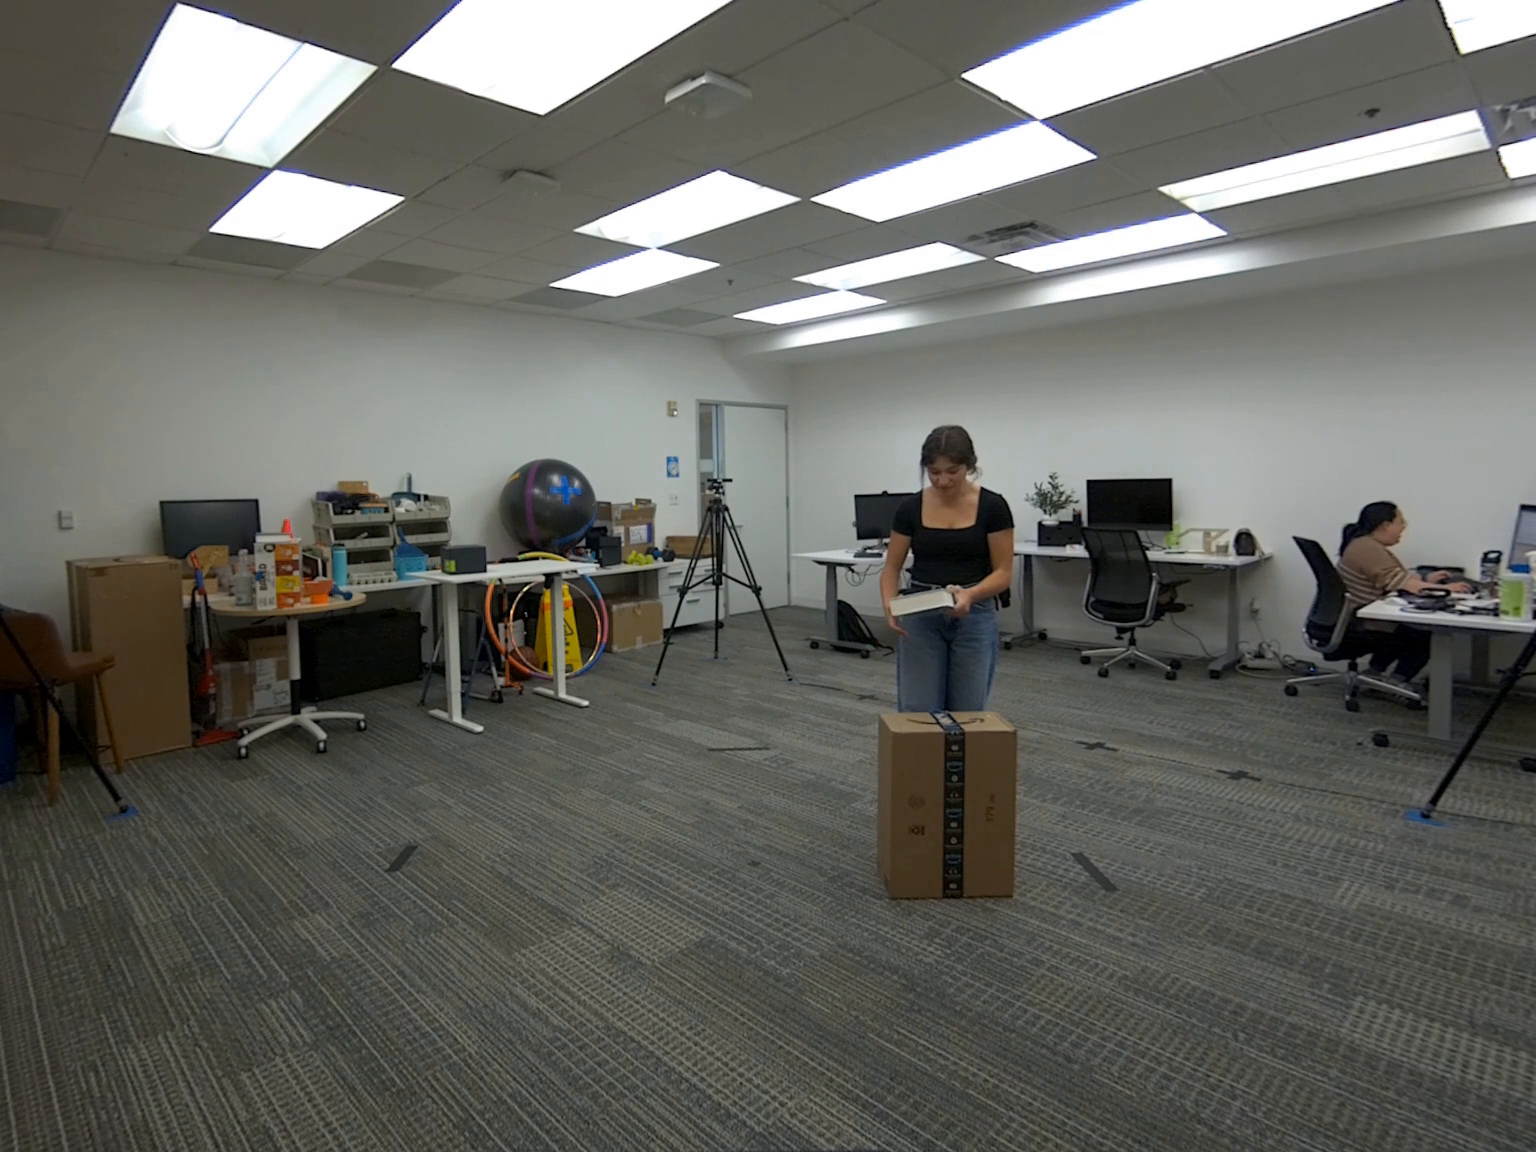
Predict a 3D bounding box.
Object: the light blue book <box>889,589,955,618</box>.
[{"bbox_3d":[0.541,0.103,2.966,0.193,0.059,0.255,-11,-8,13],"label":"light blue book"}]
